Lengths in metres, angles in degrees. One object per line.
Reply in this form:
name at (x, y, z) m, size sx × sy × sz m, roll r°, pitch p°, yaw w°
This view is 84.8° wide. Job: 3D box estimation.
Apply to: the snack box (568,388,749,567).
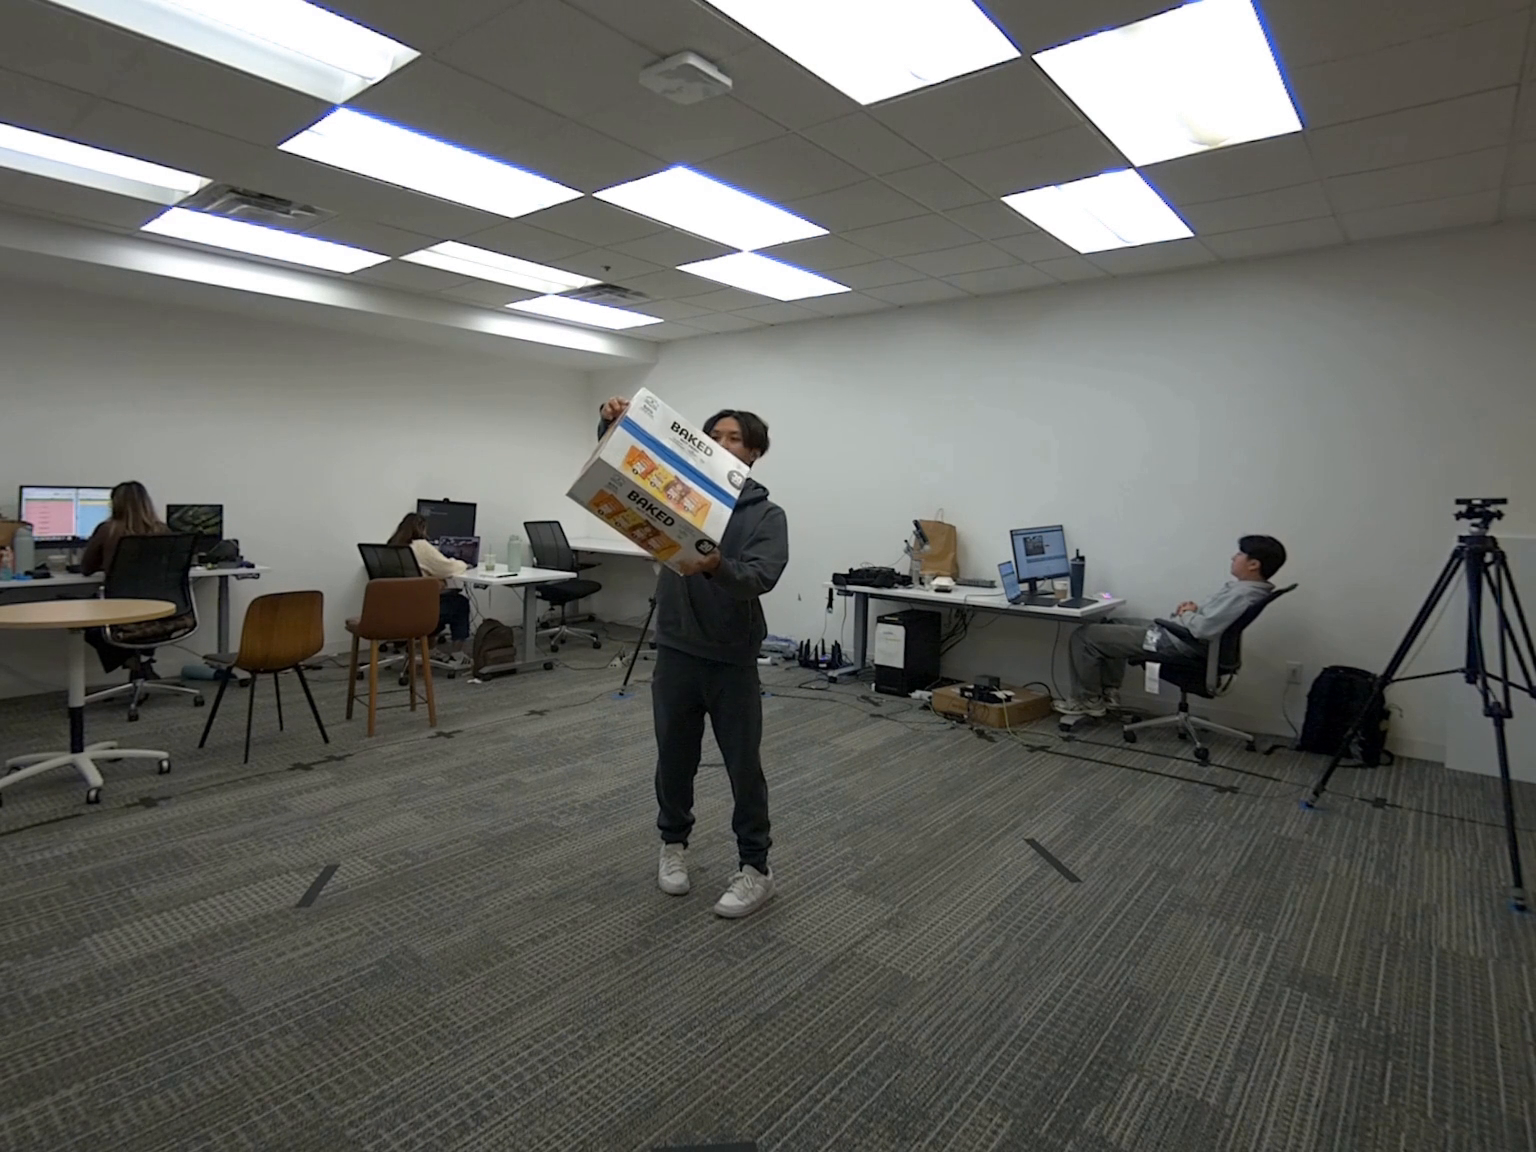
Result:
snack box at (-0.315, -0.273, 2.443) m, size 0.397 × 0.345 × 0.207 m, roll 36°, pitch -46°, yaw -15°
